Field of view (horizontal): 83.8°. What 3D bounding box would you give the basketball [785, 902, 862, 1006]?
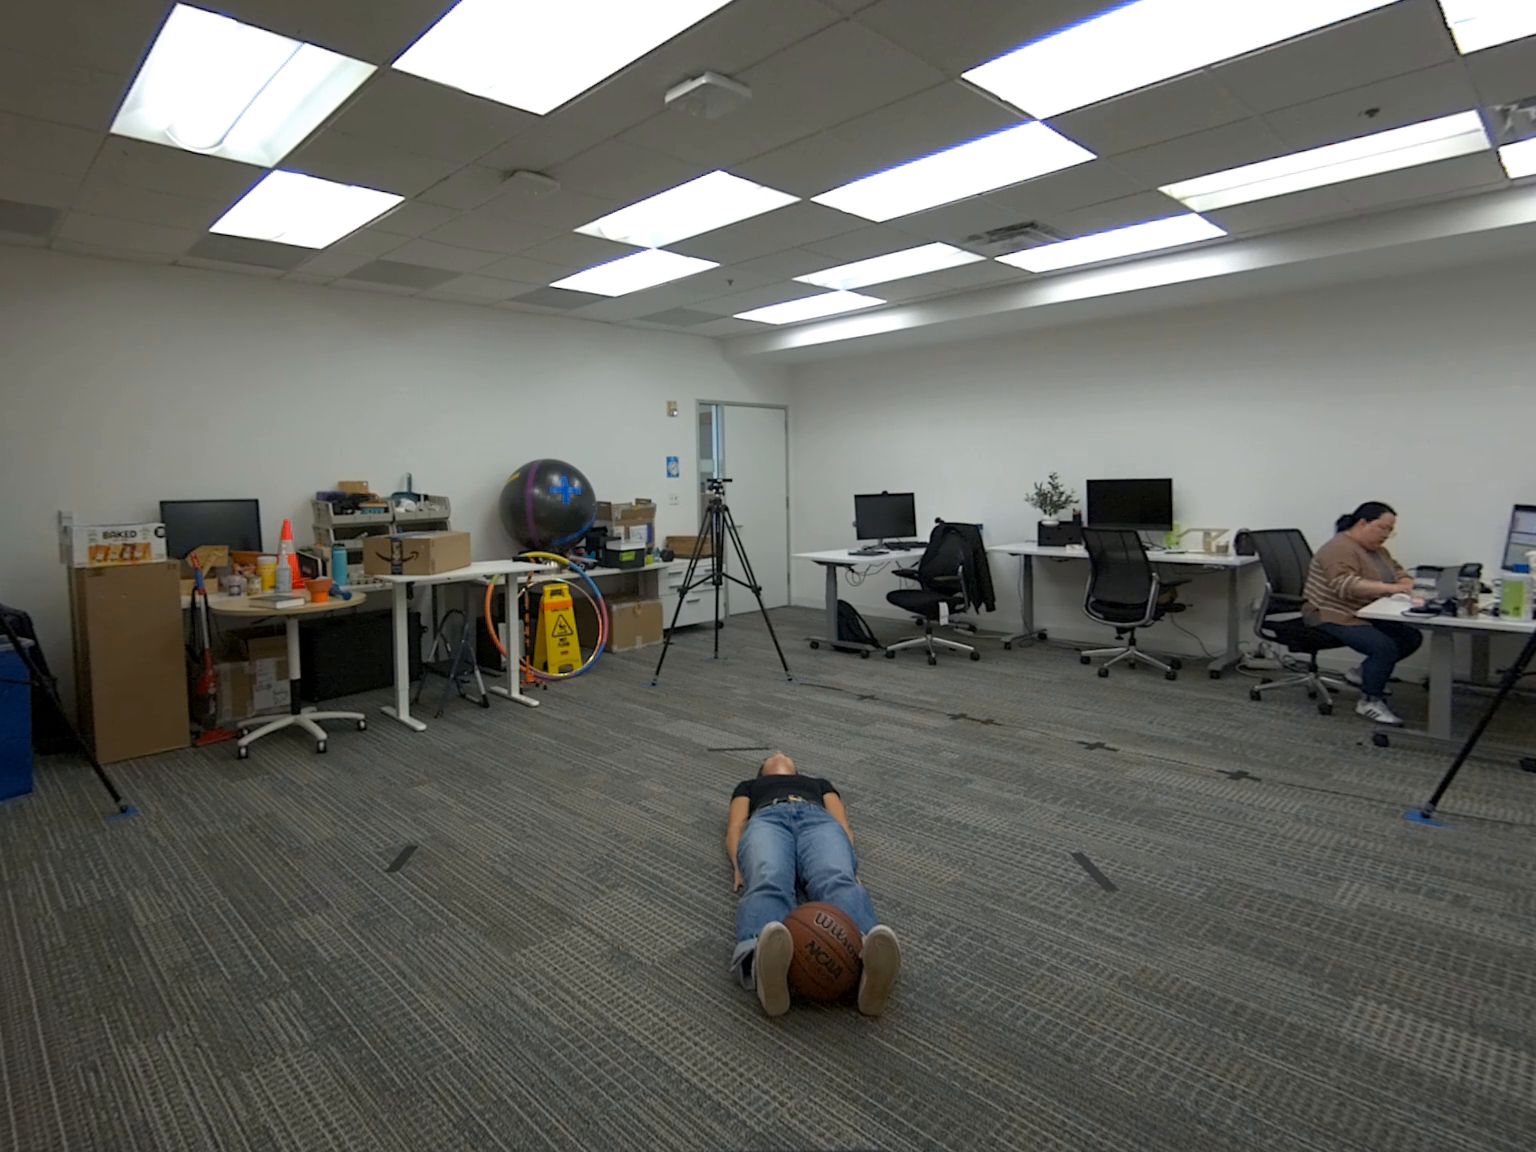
[{"bbox_3d":[0.148,1.008,2.307,0.236,0.235,0.237,-1,5,-2],"label":"basketball"}]
